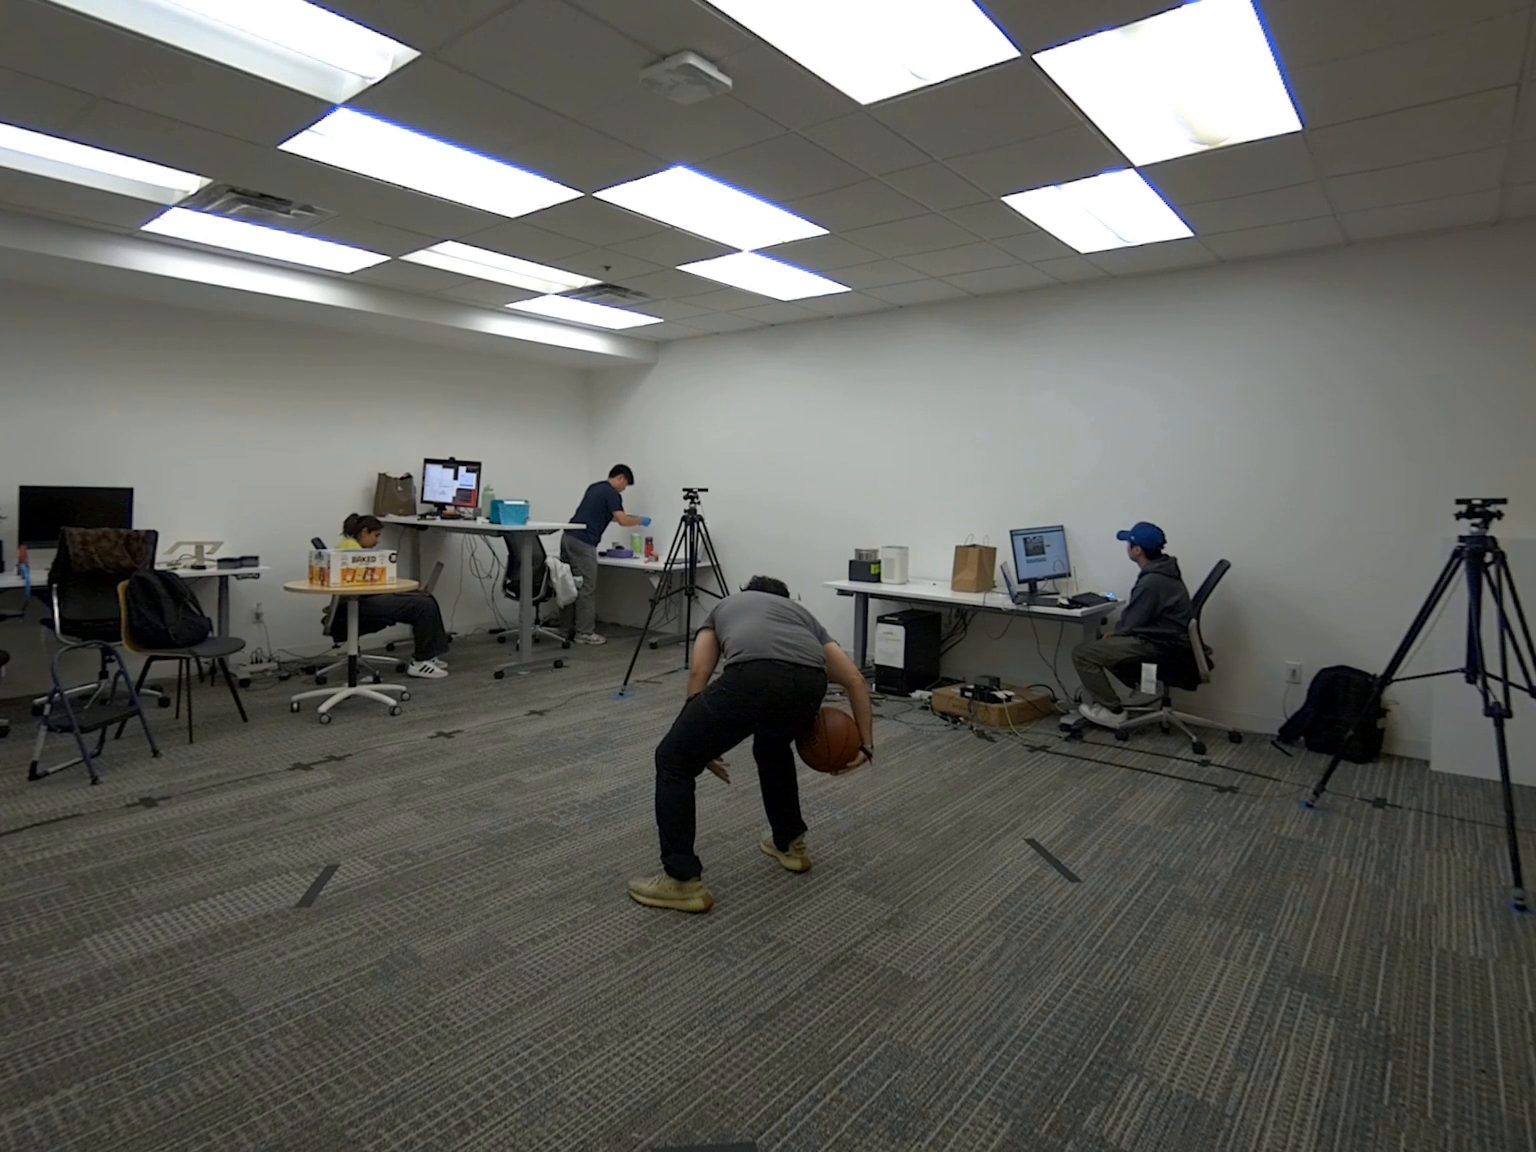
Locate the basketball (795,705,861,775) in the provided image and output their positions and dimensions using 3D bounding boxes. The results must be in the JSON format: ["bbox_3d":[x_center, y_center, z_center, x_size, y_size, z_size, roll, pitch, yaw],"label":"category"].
[{"bbox_3d":[0.209,0.600,3.132,0.235,0.235,0.237,1,4,-2],"label":"basketball"}]
